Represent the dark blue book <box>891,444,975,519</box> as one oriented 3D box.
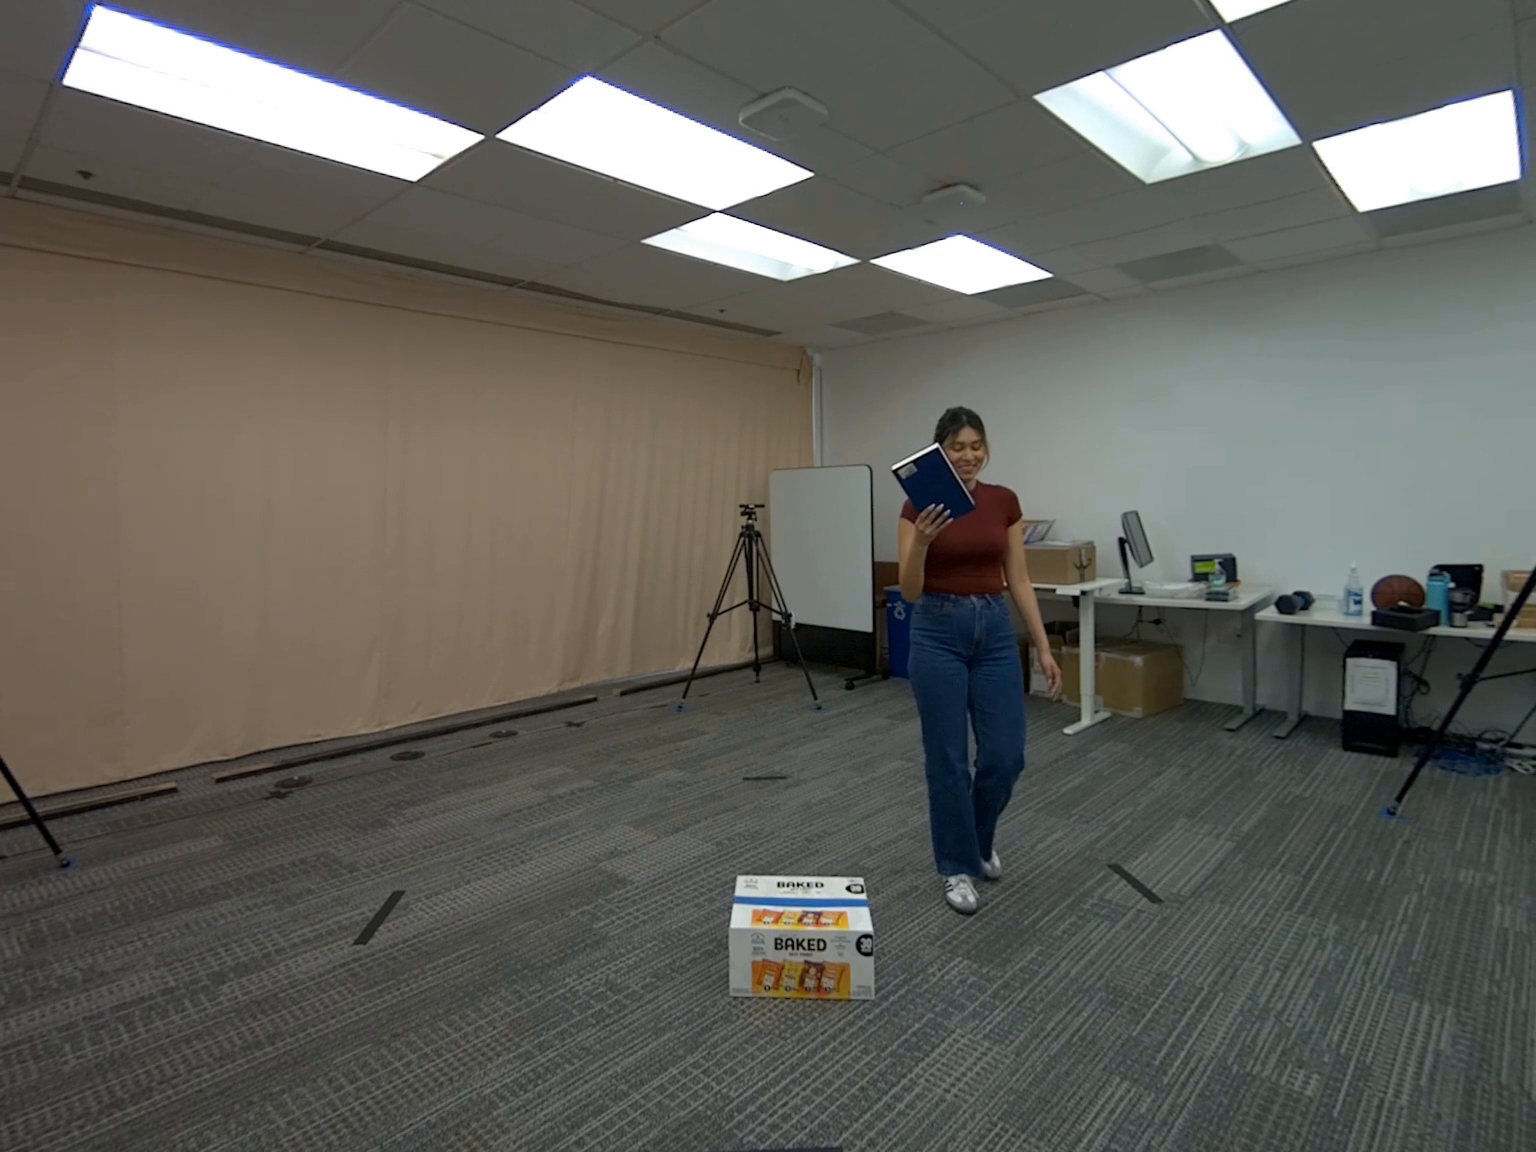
[{"bbox_3d":[0.526,-0.273,2.605,0.166,0.240,0.045,-27,19,25],"label":"dark blue book"}]
